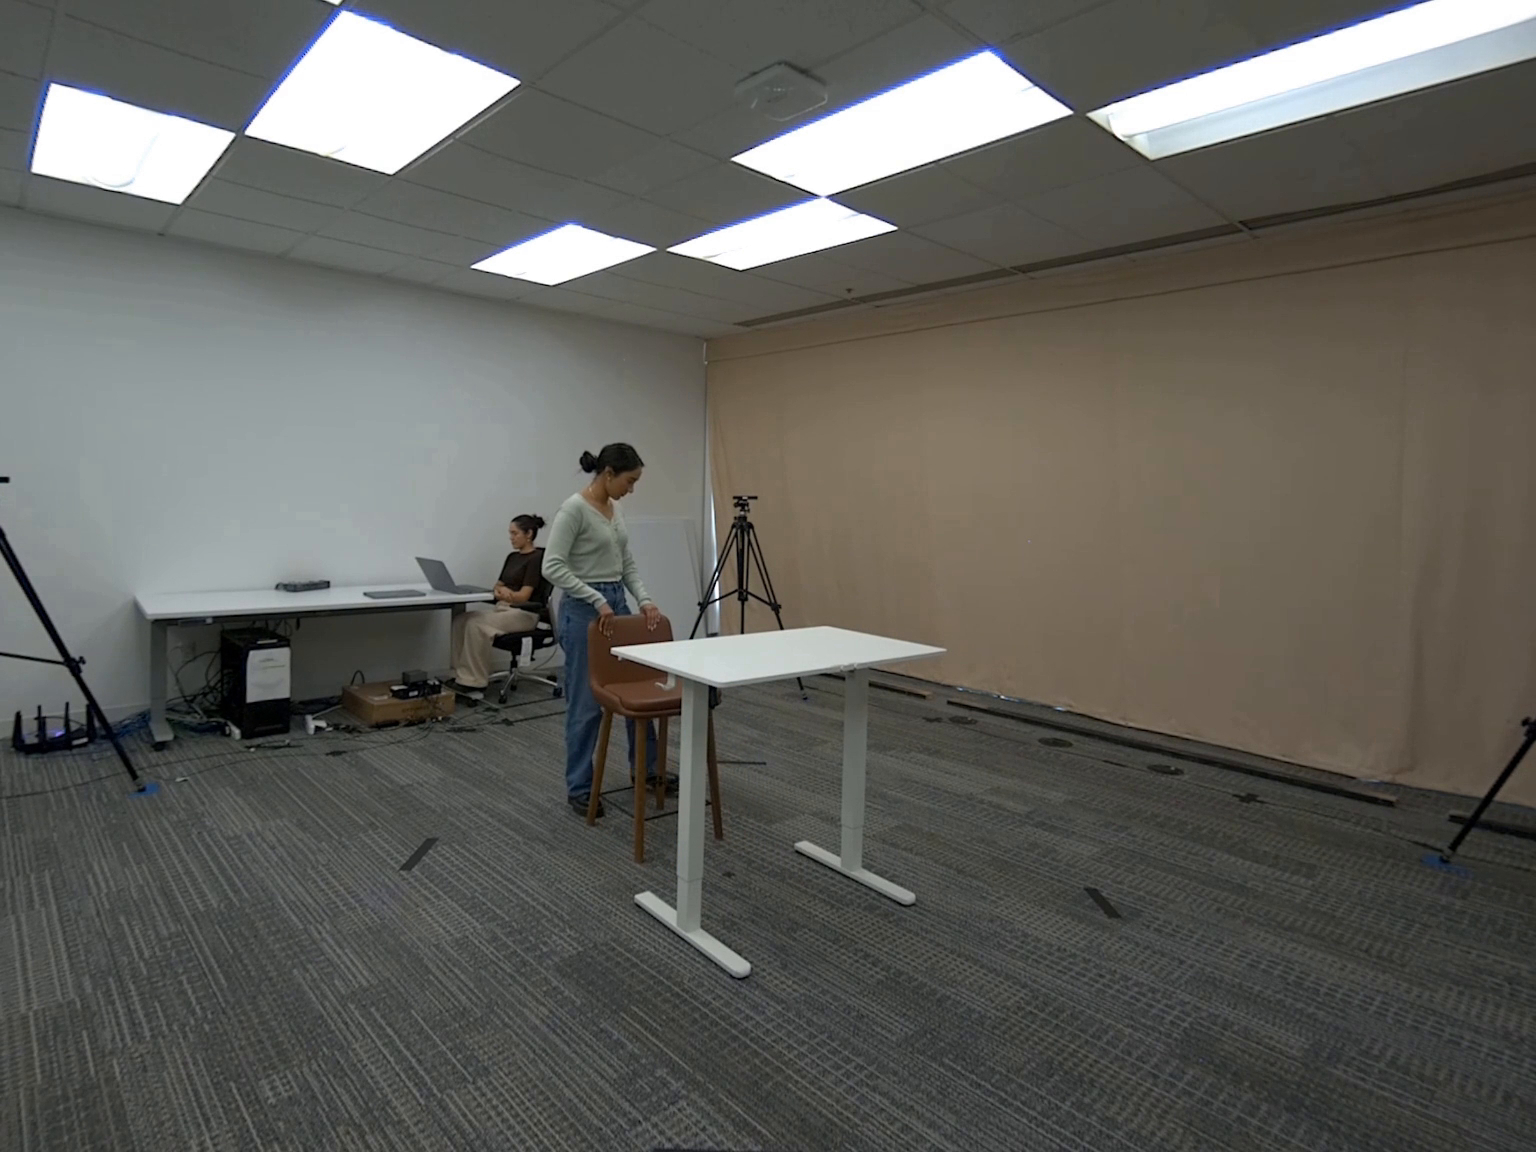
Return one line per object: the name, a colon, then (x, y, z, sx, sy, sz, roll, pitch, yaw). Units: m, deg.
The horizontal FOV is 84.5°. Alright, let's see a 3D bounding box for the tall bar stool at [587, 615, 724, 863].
tall bar stool: (-0.480, 0.621, 3.470, 0.446, 0.889, 0.478, -1, 2, -37)
